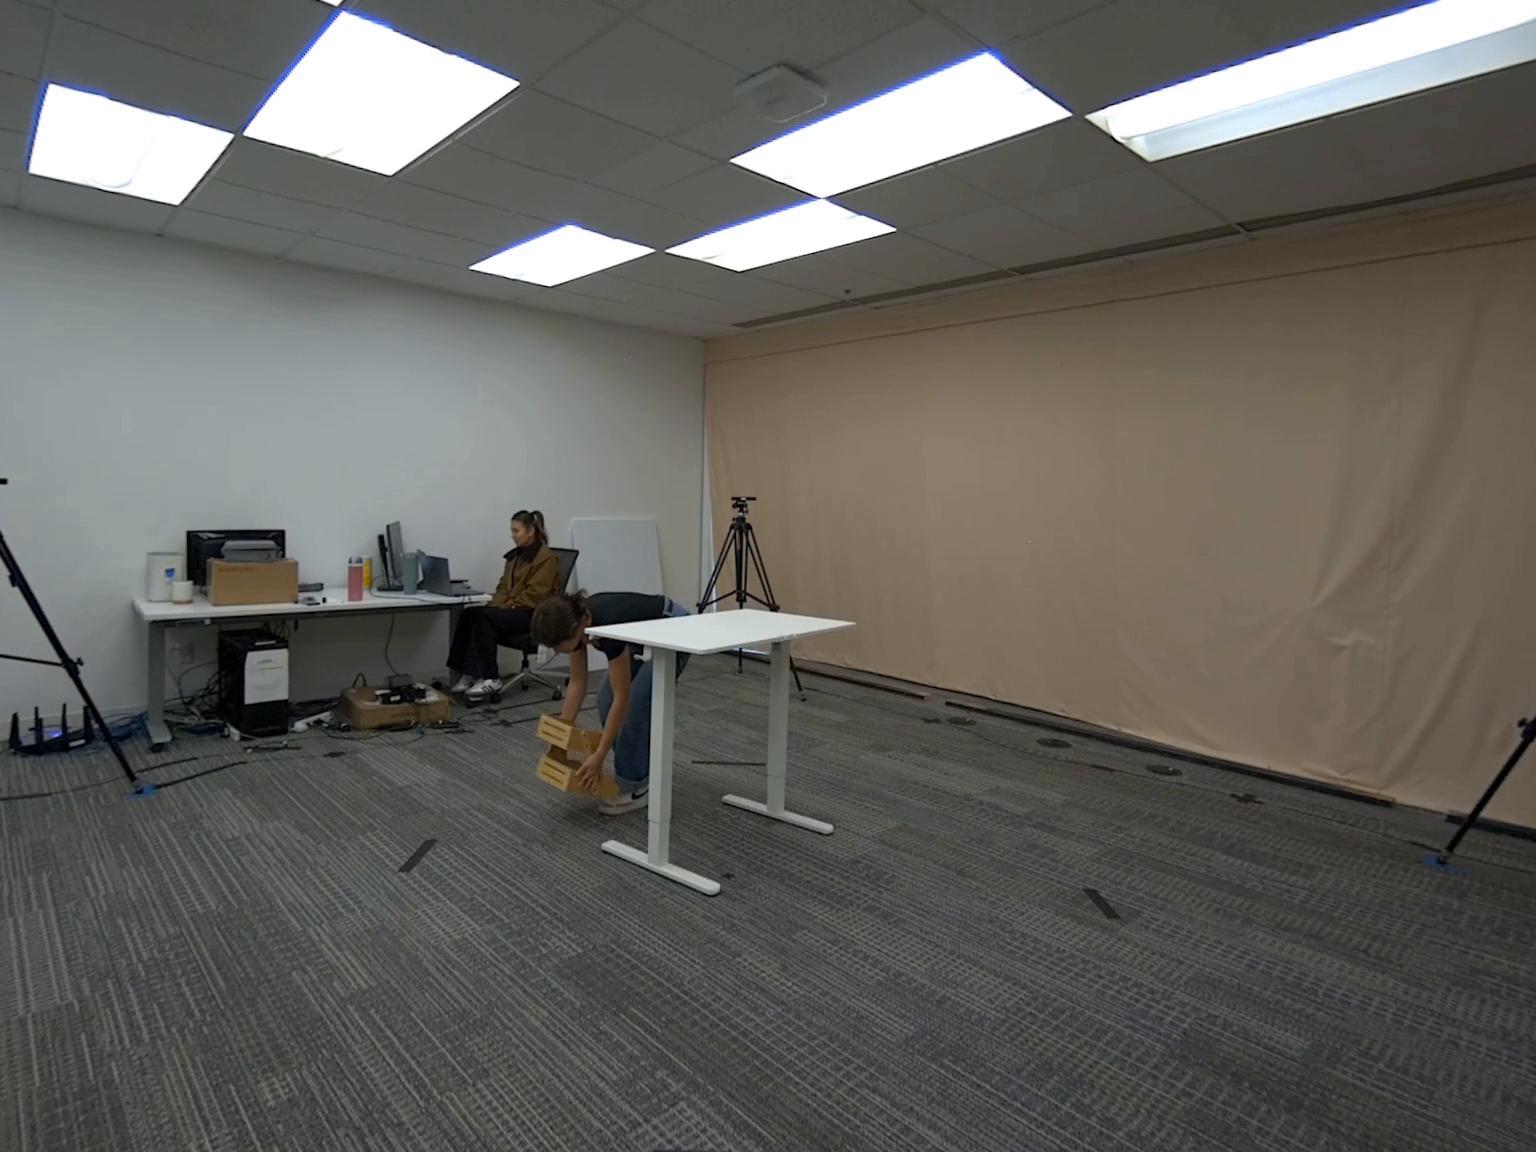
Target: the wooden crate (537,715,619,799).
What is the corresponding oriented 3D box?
[{"bbox_3d":[-0.825,0.766,3.616,0.293,0.274,0.332,19,-10,-39],"label":"wooden crate"}]
